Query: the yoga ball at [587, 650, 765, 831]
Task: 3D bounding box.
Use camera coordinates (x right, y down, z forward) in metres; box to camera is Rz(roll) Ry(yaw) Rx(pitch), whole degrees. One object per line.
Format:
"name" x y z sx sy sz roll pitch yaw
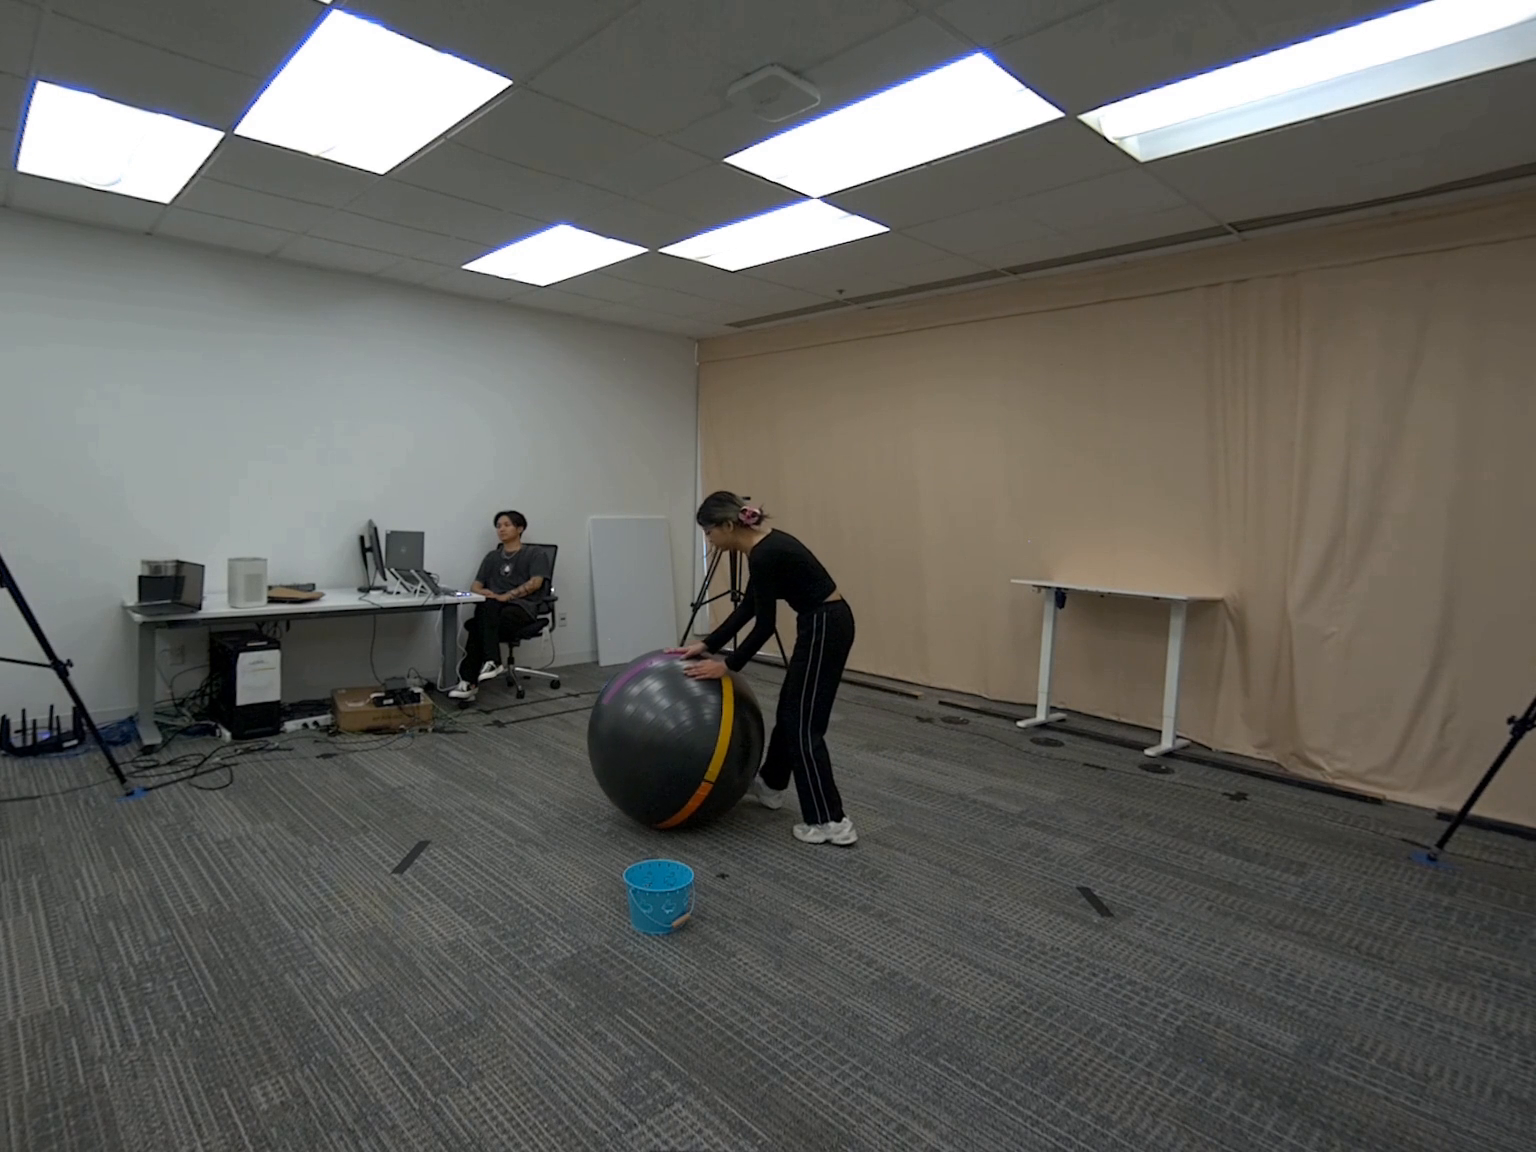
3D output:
"yoga ball" -0.406 0.693 3.624 0.757 0.756 0.761 1 4 -1
